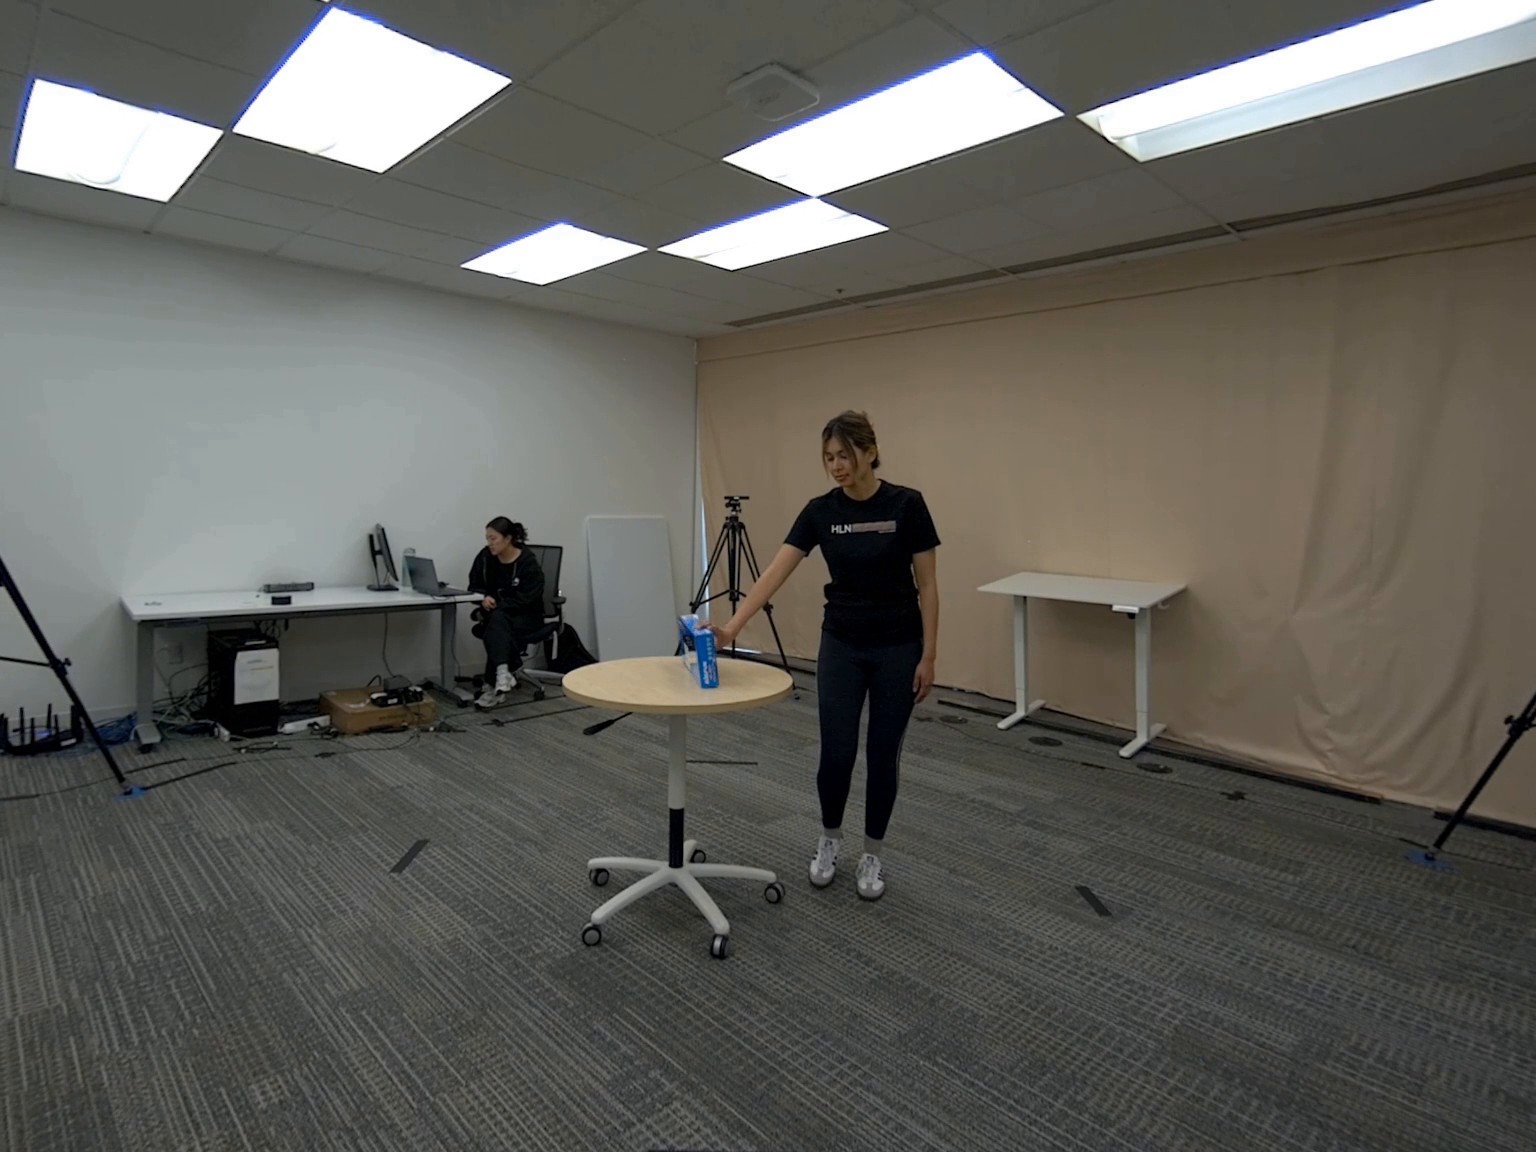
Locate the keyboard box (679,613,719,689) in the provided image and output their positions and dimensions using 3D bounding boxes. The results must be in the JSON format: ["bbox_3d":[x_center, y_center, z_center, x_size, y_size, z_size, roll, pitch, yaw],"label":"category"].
[{"bbox_3d":[-0.247,0.249,2.876,0.059,0.175,0.442,-6,7,-11],"label":"keyboard box"}]
